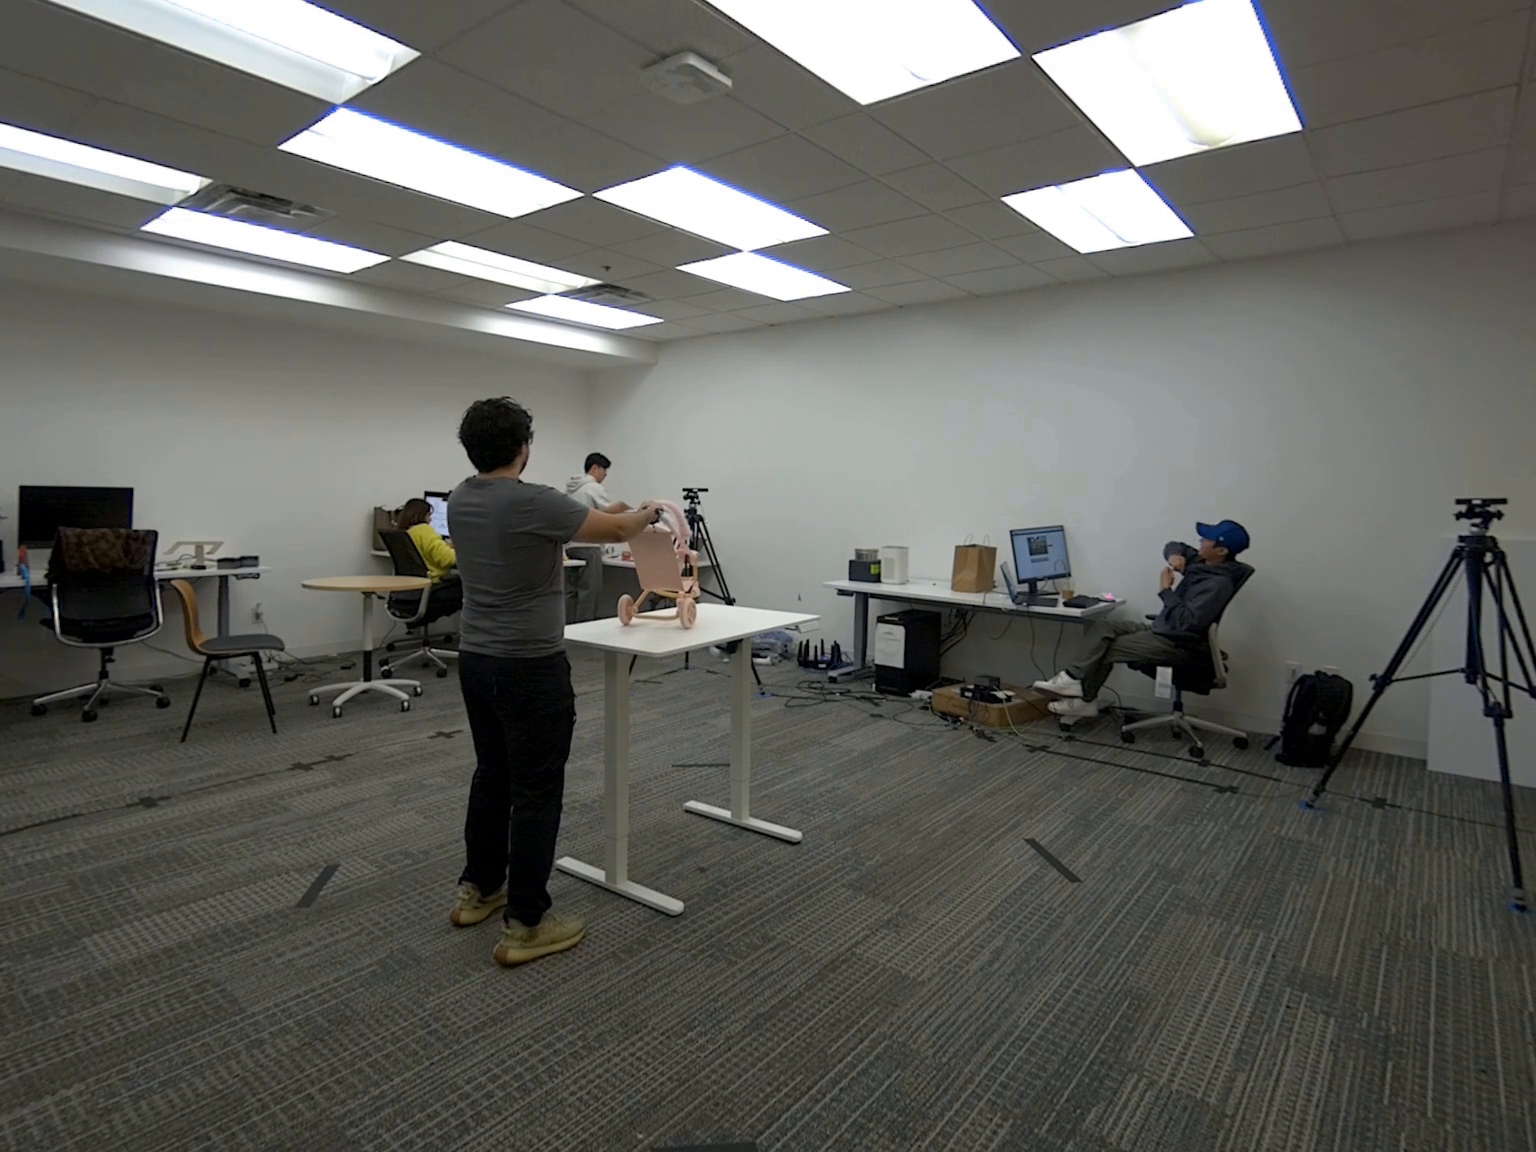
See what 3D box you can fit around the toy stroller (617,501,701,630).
[{"bbox_3d":[-0.402,-0.044,3.165,0.288,0.525,0.339,3,19,22],"label":"toy stroller"}]
